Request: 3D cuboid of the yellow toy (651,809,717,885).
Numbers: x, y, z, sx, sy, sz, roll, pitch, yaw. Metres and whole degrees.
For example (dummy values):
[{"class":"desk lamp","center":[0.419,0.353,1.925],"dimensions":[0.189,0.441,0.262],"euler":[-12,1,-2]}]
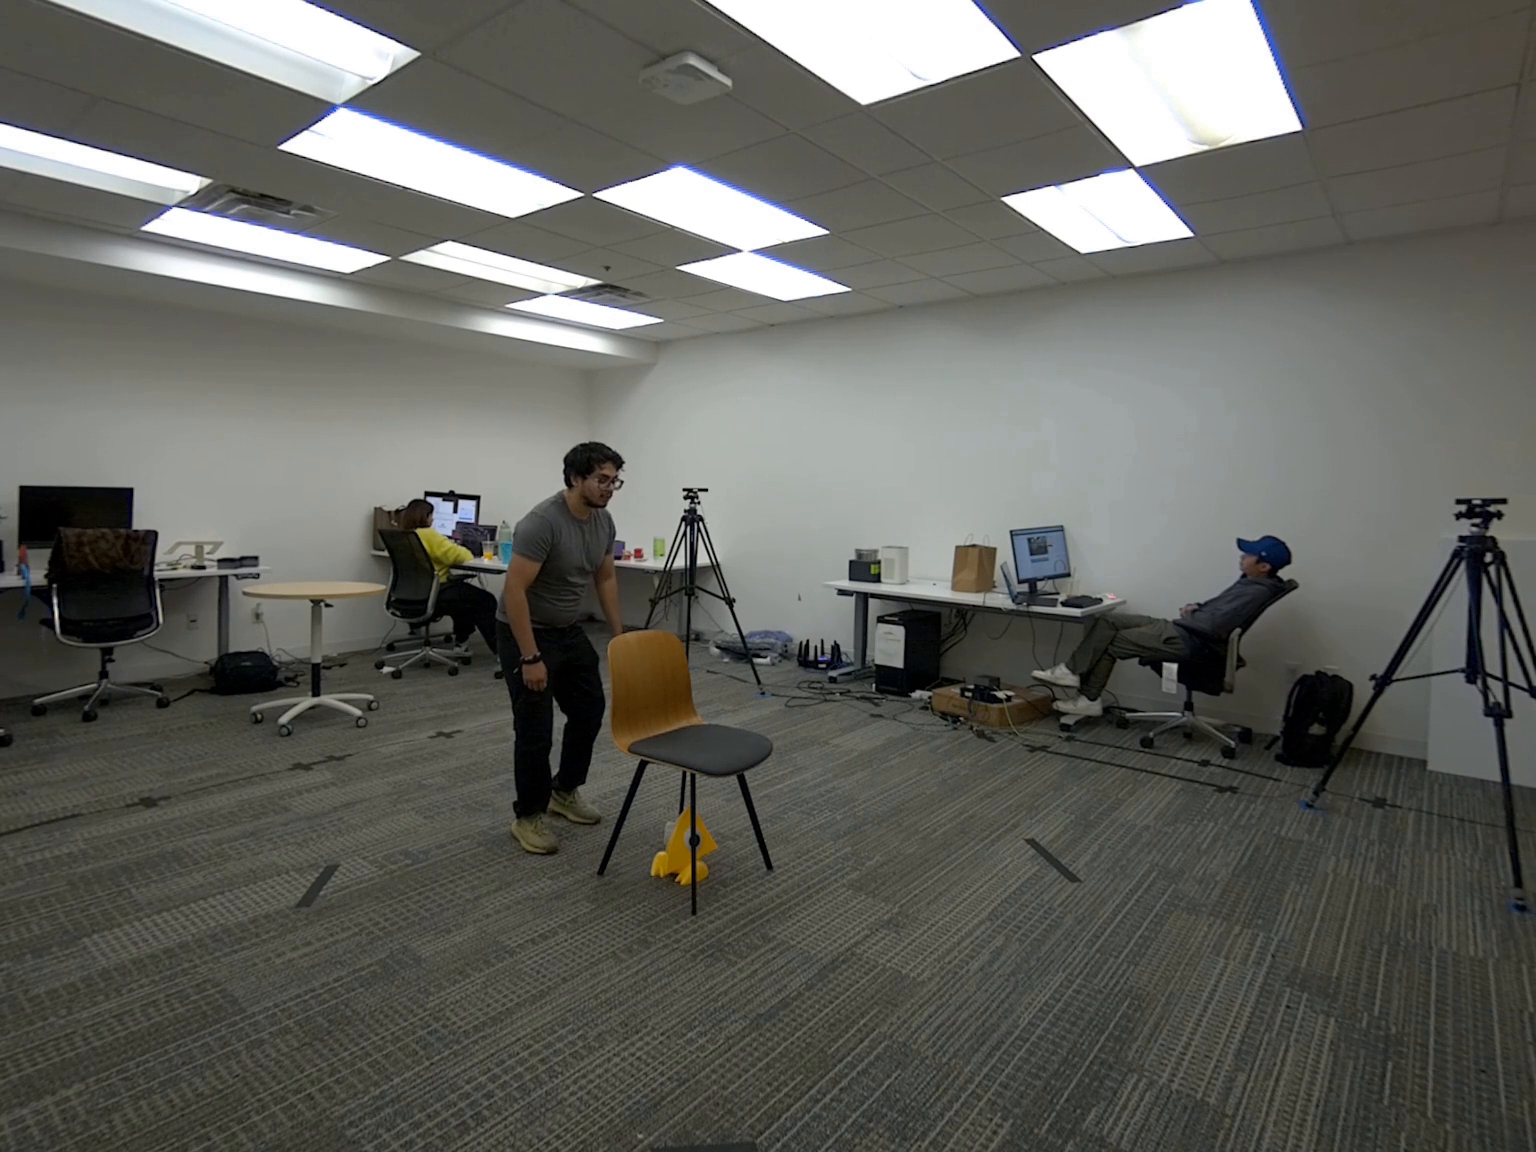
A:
[{"class":"yellow toy","center":[-0.325,0.955,3.088],"dimensions":[0.211,0.230,0.188],"euler":[3,3,30]}]
